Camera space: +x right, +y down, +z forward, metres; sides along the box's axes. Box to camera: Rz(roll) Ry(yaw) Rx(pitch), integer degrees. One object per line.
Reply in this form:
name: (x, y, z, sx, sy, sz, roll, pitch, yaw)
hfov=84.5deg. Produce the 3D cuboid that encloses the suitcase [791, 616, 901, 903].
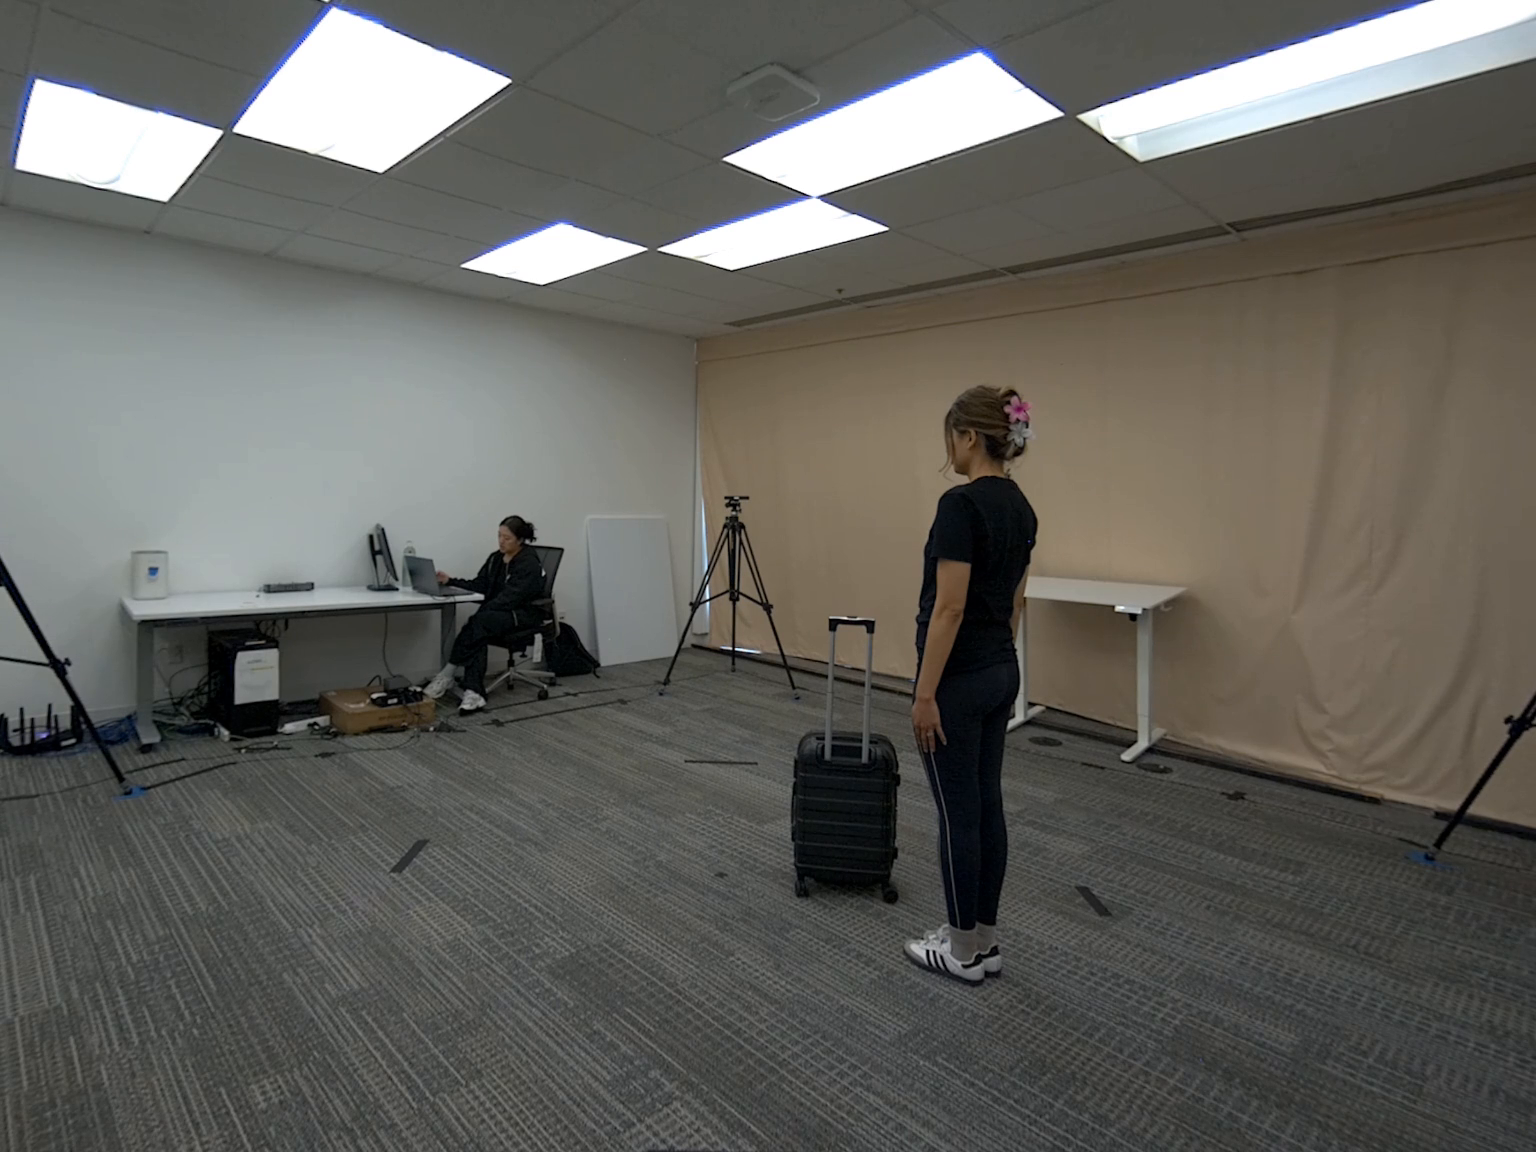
suitcase: (0.278, 0.641, 3.043, 0.386, 0.978, 0.256, 2, 1, 5)
